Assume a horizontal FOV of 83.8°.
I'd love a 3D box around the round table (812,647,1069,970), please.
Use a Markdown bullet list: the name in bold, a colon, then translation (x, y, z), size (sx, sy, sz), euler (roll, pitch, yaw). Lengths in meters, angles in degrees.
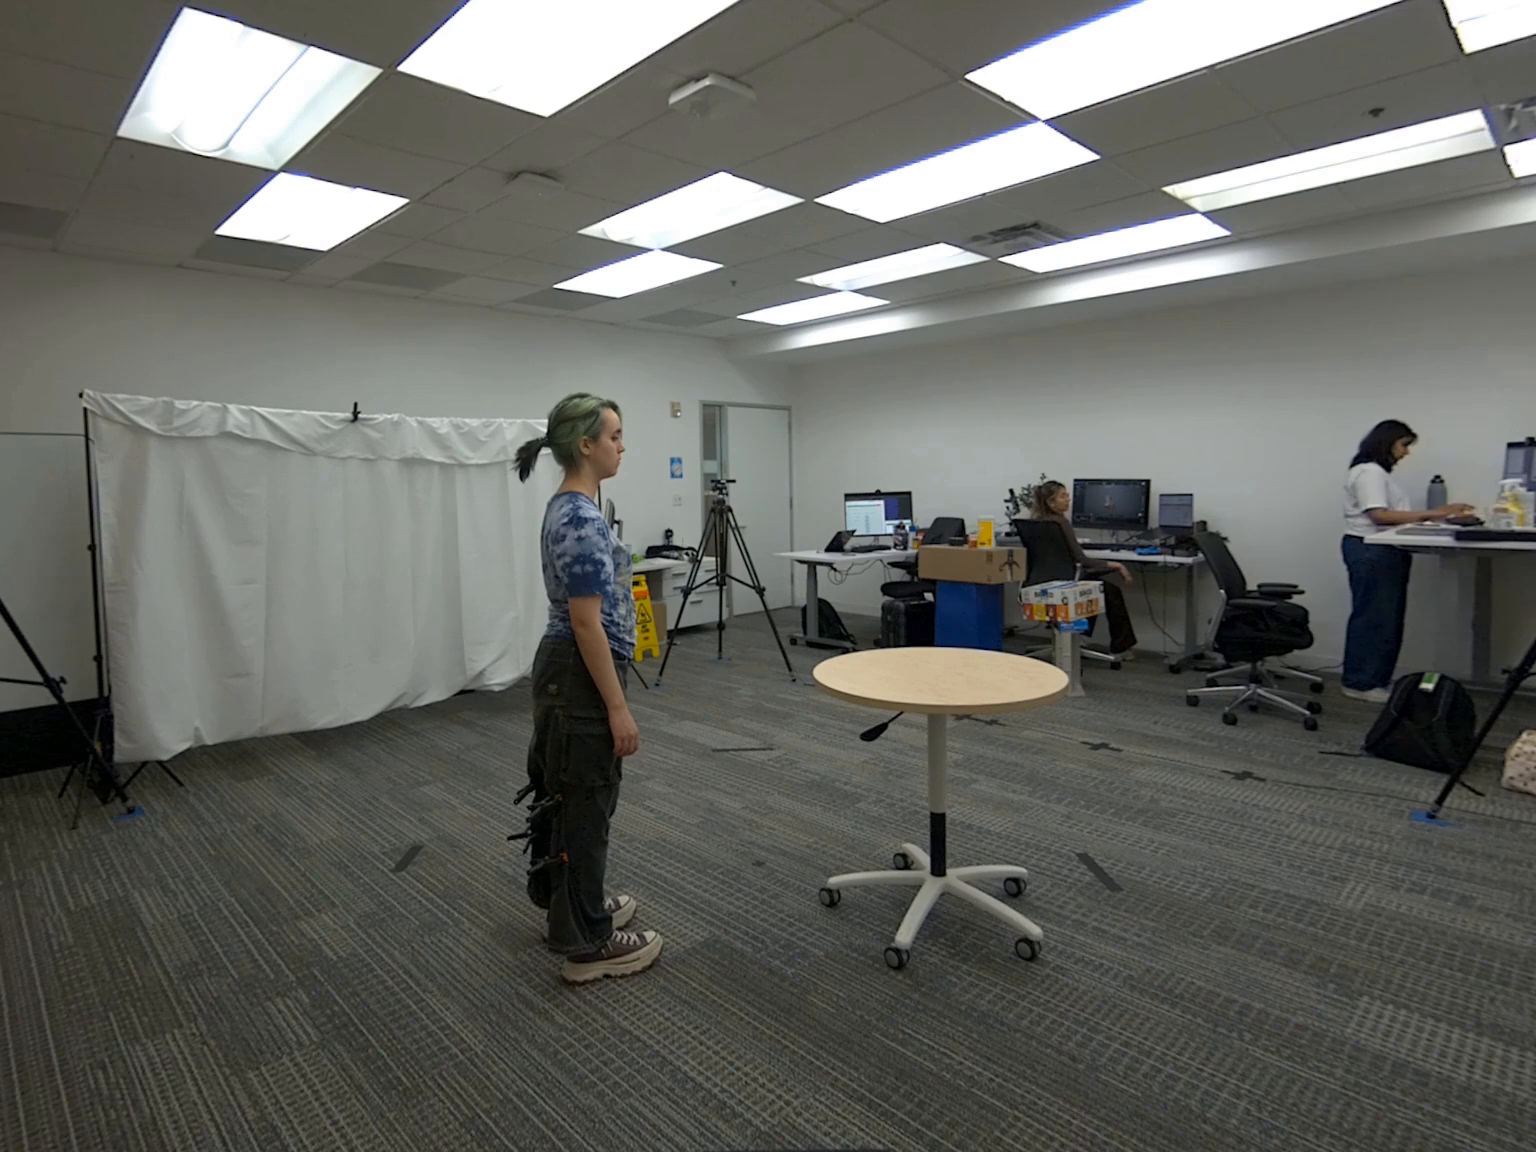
- **round table**: translation (0.539, 0.696, 2.684), size (0.763, 0.790, 0.768), euler (-1, 5, -2)
